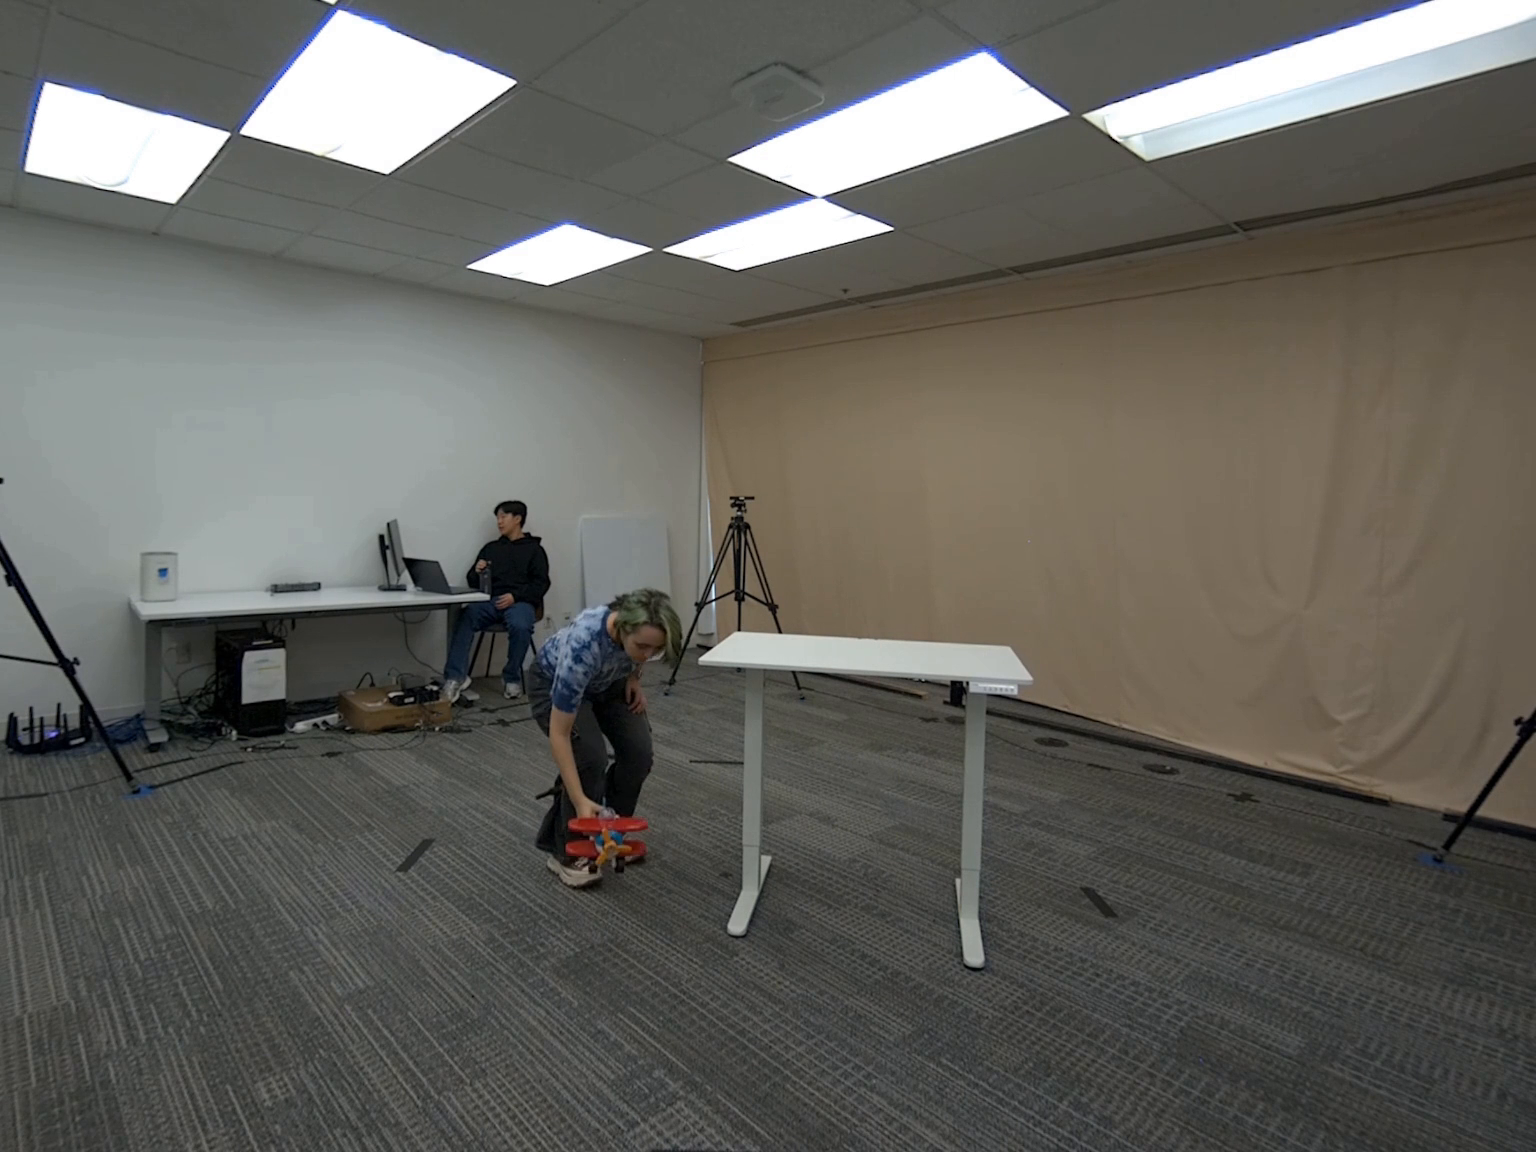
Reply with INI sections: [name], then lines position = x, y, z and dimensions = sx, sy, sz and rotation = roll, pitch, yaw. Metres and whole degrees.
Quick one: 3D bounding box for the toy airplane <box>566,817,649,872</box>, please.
[toy airplane]
position = -0.555, 0.842, 2.713
dimensions = 0.246, 0.155, 0.267
rotation = -9, 27, -44
